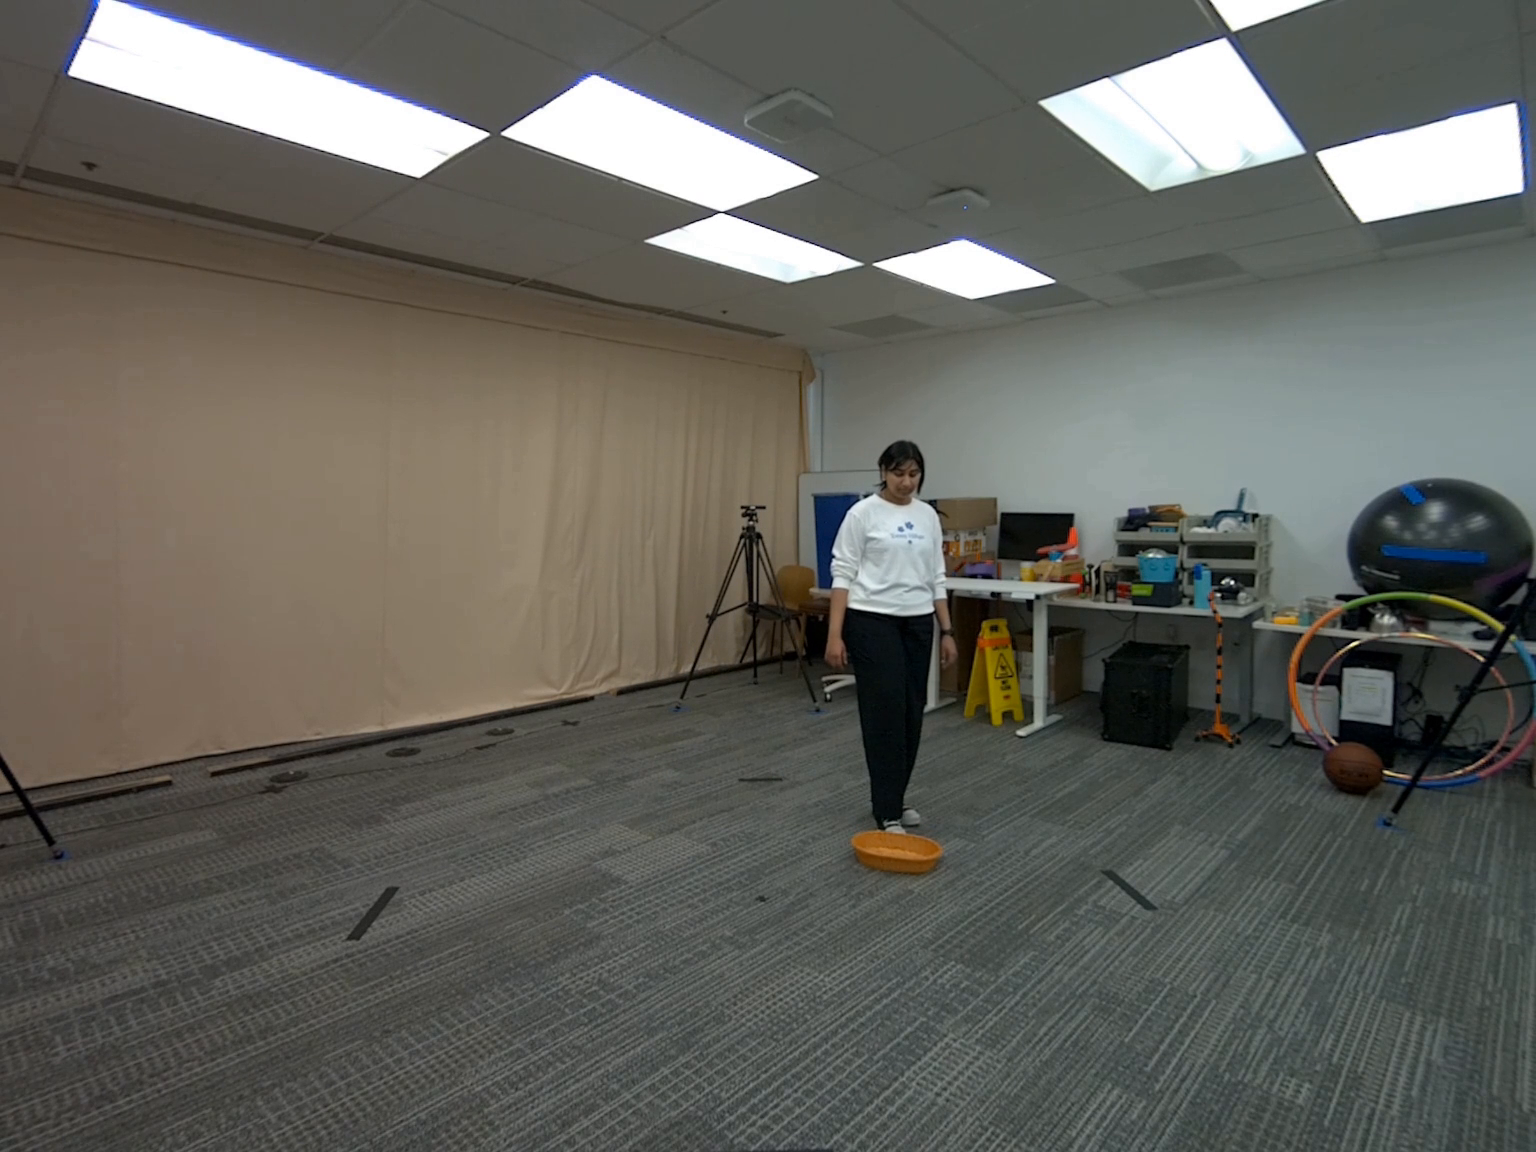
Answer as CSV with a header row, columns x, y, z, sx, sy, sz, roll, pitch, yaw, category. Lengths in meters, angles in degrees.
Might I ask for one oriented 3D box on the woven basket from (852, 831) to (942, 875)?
x,y,z,sx,sy,sz,roll,pitch,yaw,category
0.504,1.075,3.285,0.358,0.073,0.247,2,5,21,woven basket
